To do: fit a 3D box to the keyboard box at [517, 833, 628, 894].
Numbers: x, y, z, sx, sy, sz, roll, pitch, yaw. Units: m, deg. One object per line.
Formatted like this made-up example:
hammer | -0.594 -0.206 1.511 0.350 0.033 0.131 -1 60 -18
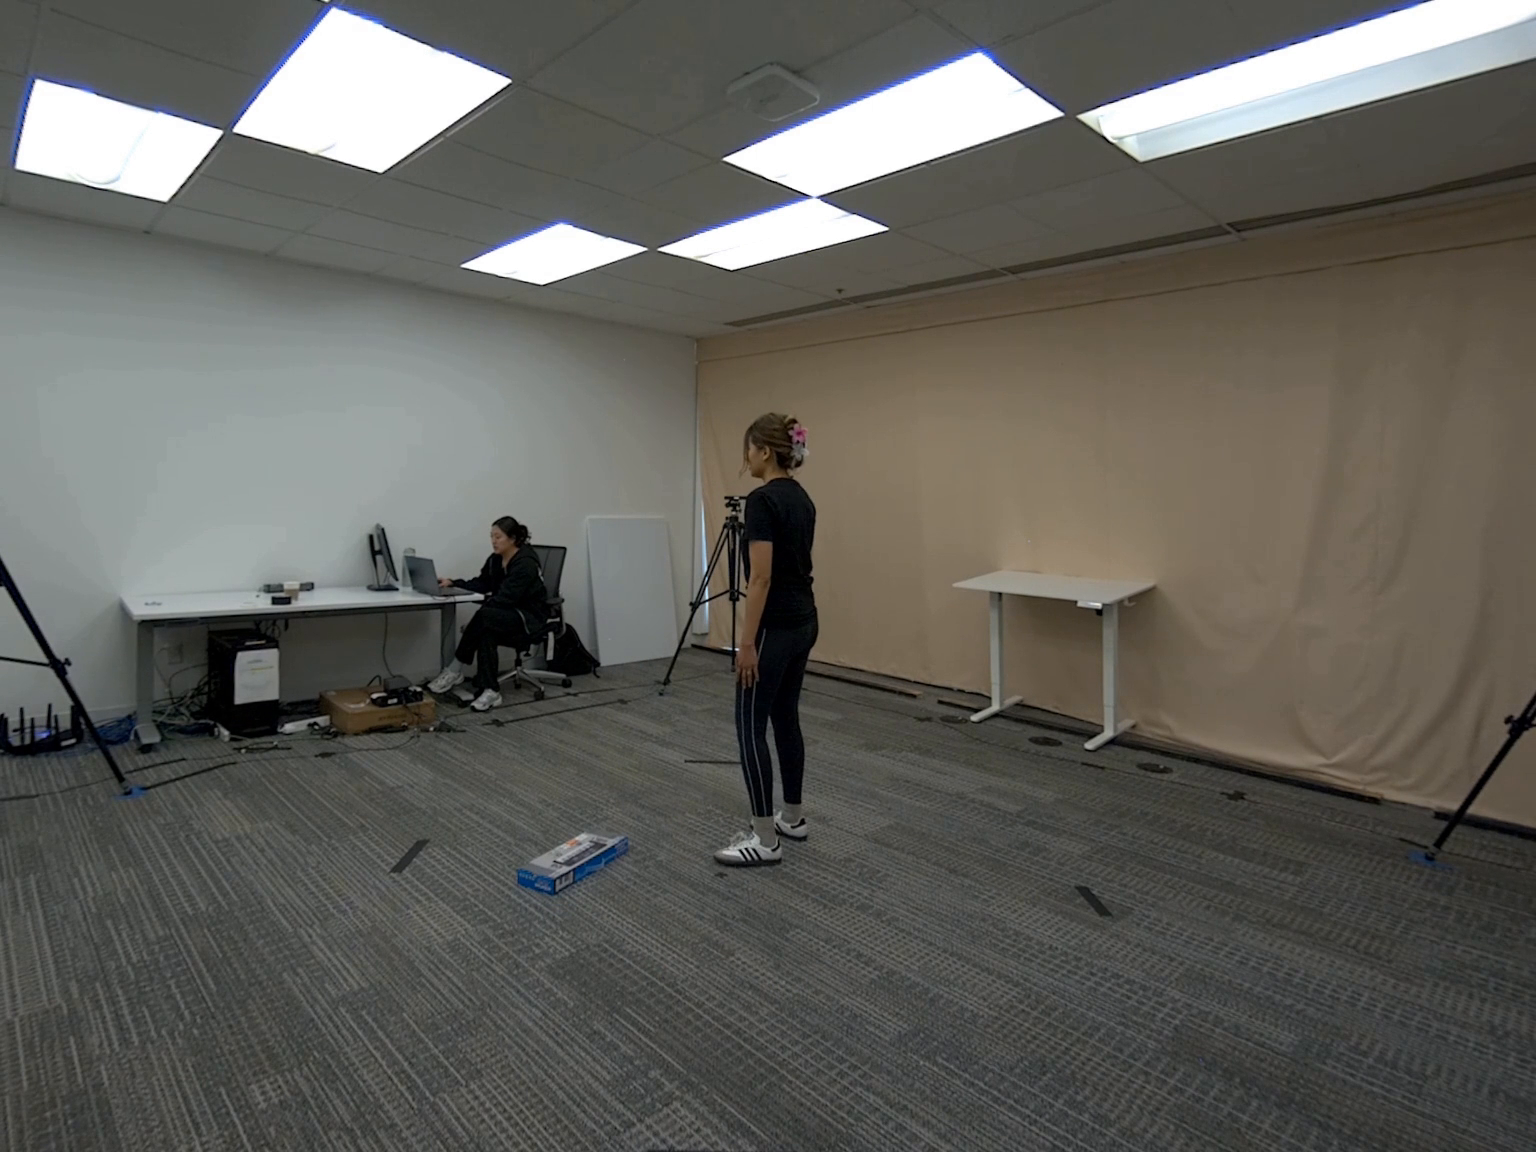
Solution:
keyboard box | -0.729 1.058 3.141 0.179 0.059 0.429 3 6 27
